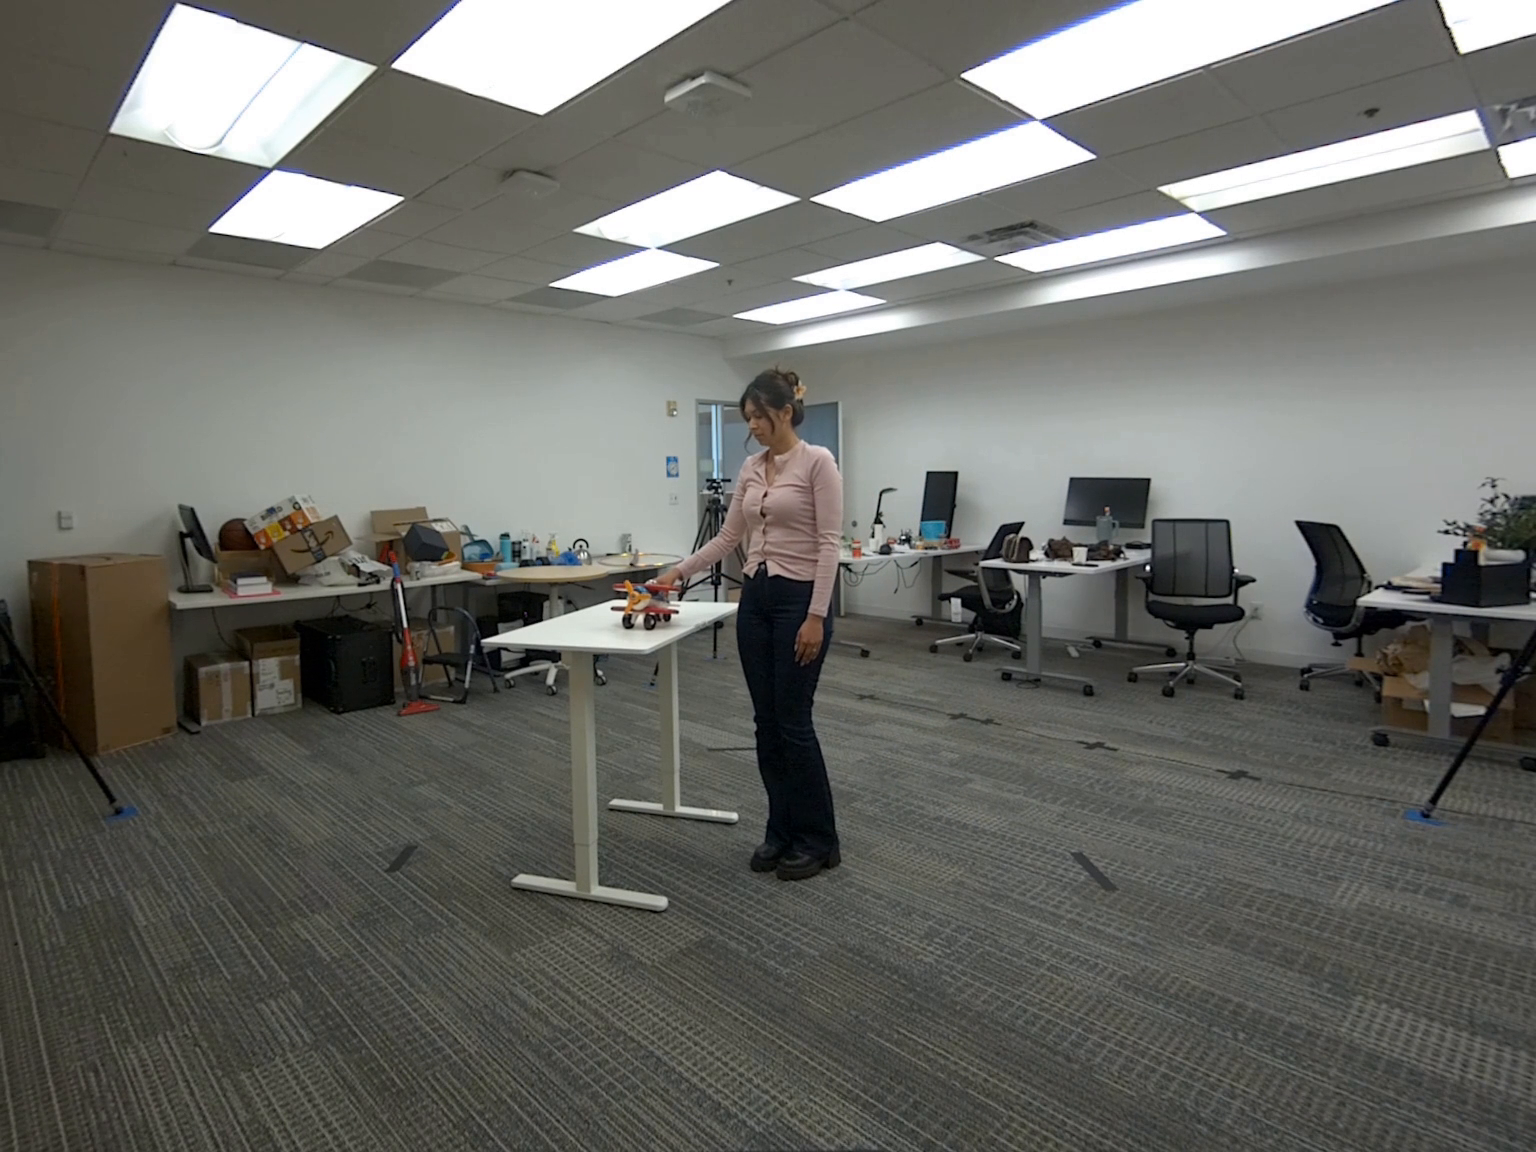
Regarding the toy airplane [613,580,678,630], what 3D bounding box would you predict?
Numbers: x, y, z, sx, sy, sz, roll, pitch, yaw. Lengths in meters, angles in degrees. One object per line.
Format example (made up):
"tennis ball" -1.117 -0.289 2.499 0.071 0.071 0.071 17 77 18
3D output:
"toy airplane" -0.437 0.098 3.053 0.250 0.156 0.262 -1 6 -6
